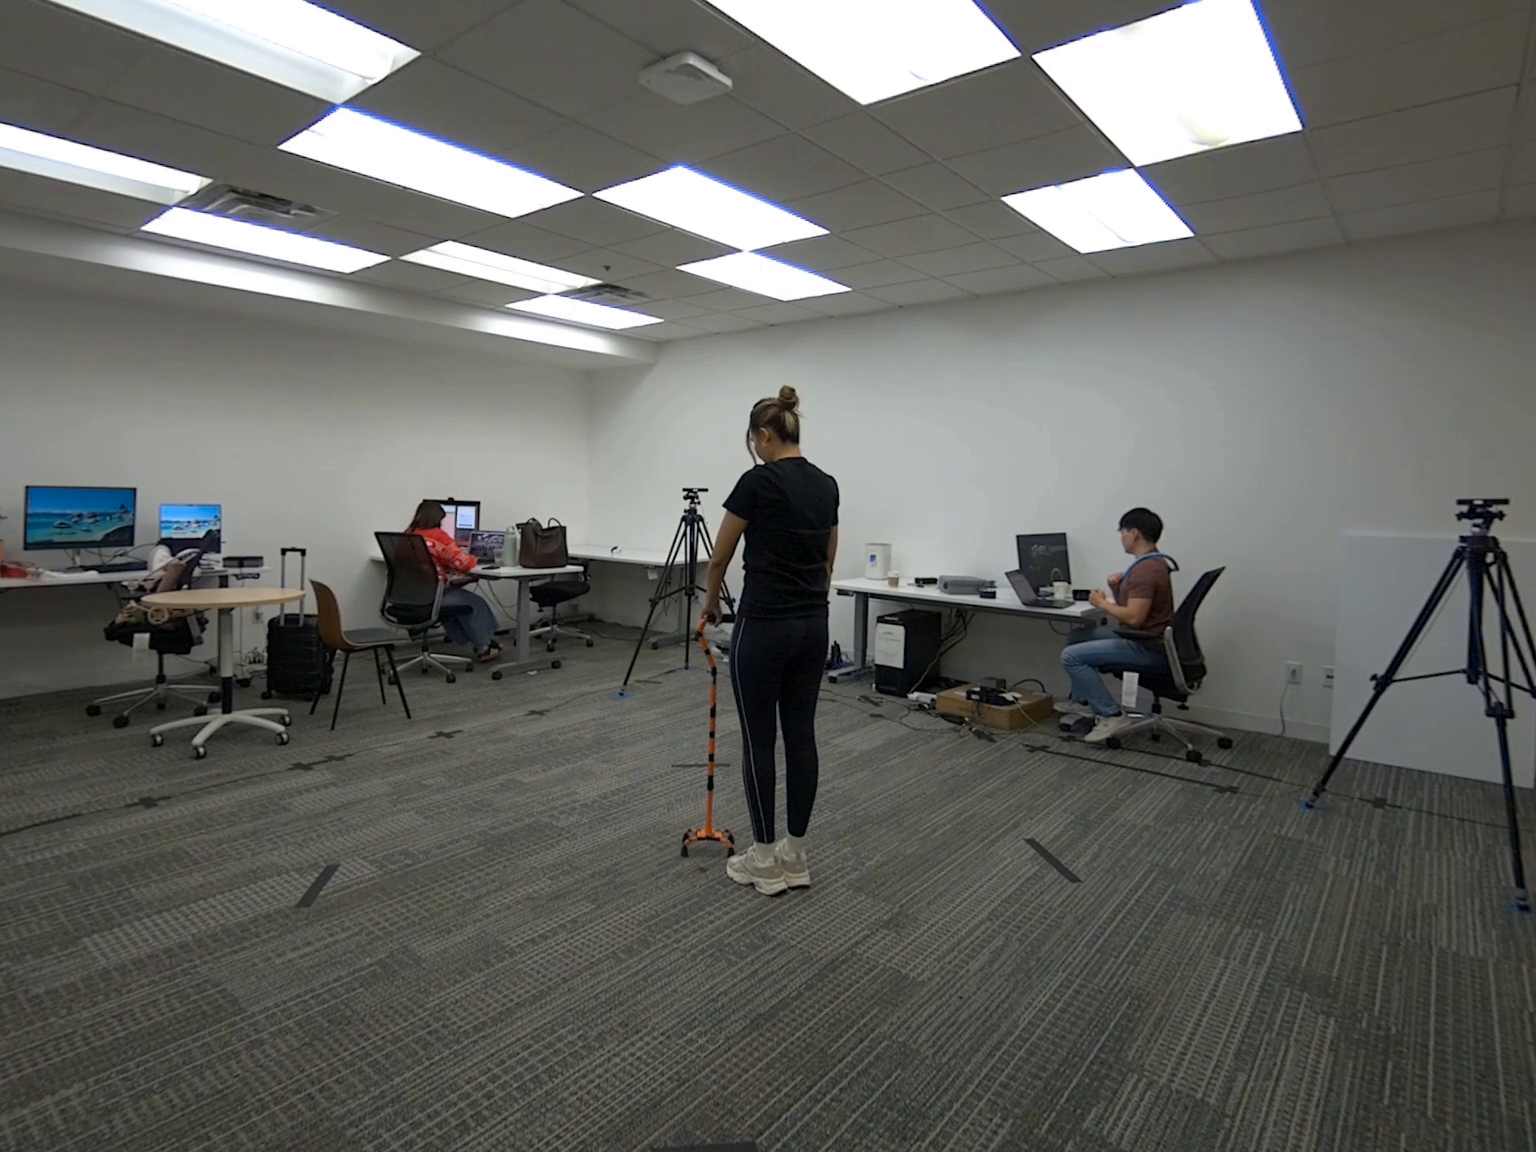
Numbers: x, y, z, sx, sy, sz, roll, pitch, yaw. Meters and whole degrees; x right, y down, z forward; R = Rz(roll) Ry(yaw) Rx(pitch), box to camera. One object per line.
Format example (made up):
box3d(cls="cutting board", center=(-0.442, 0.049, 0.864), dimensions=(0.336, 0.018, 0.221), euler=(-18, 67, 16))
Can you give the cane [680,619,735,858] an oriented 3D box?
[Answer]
box3d(cls="cane", center=(-0.230, 0.602, 3.268), dimensions=(0.206, 0.906, 0.152), euler=(1, 2, -1))
